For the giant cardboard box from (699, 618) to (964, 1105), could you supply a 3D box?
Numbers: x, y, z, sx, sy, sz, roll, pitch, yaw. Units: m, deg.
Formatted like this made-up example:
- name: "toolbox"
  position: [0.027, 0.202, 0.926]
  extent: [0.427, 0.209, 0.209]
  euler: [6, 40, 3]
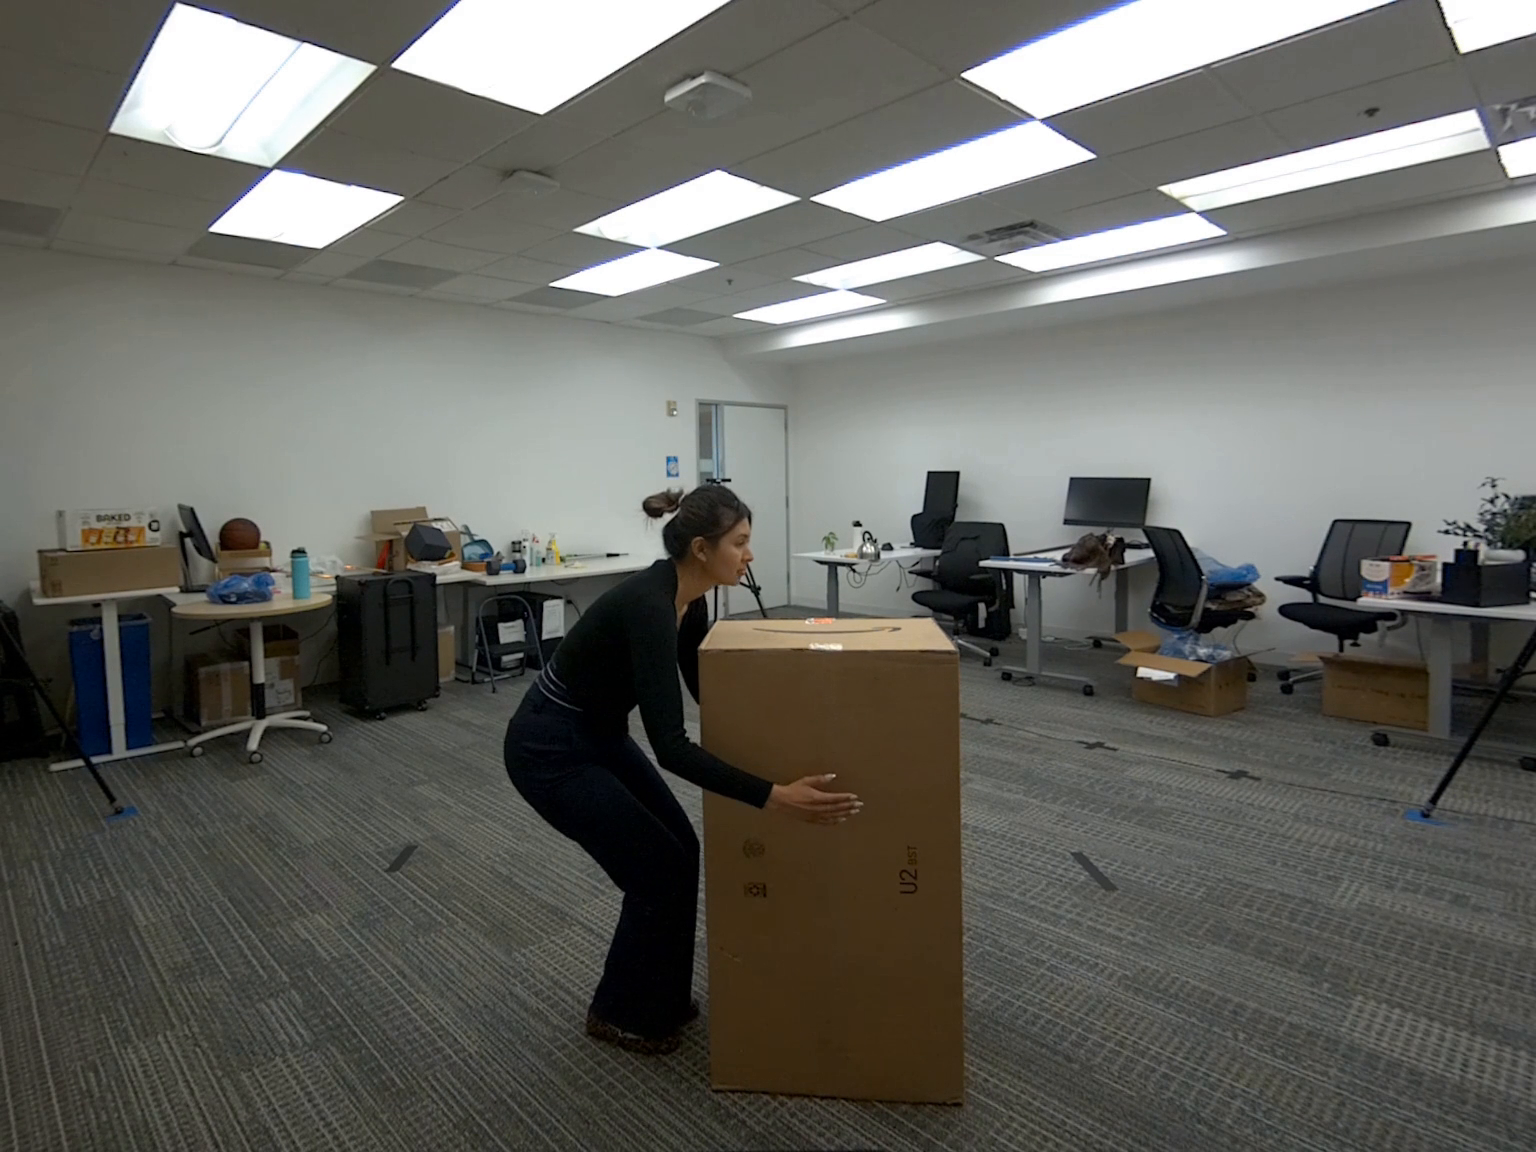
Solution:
- name: "giant cardboard box"
  position: [0.159, 0.647, 2.108]
  extent: [0.581, 1.022, 0.425]
  euler: [-1, 4, 6]
